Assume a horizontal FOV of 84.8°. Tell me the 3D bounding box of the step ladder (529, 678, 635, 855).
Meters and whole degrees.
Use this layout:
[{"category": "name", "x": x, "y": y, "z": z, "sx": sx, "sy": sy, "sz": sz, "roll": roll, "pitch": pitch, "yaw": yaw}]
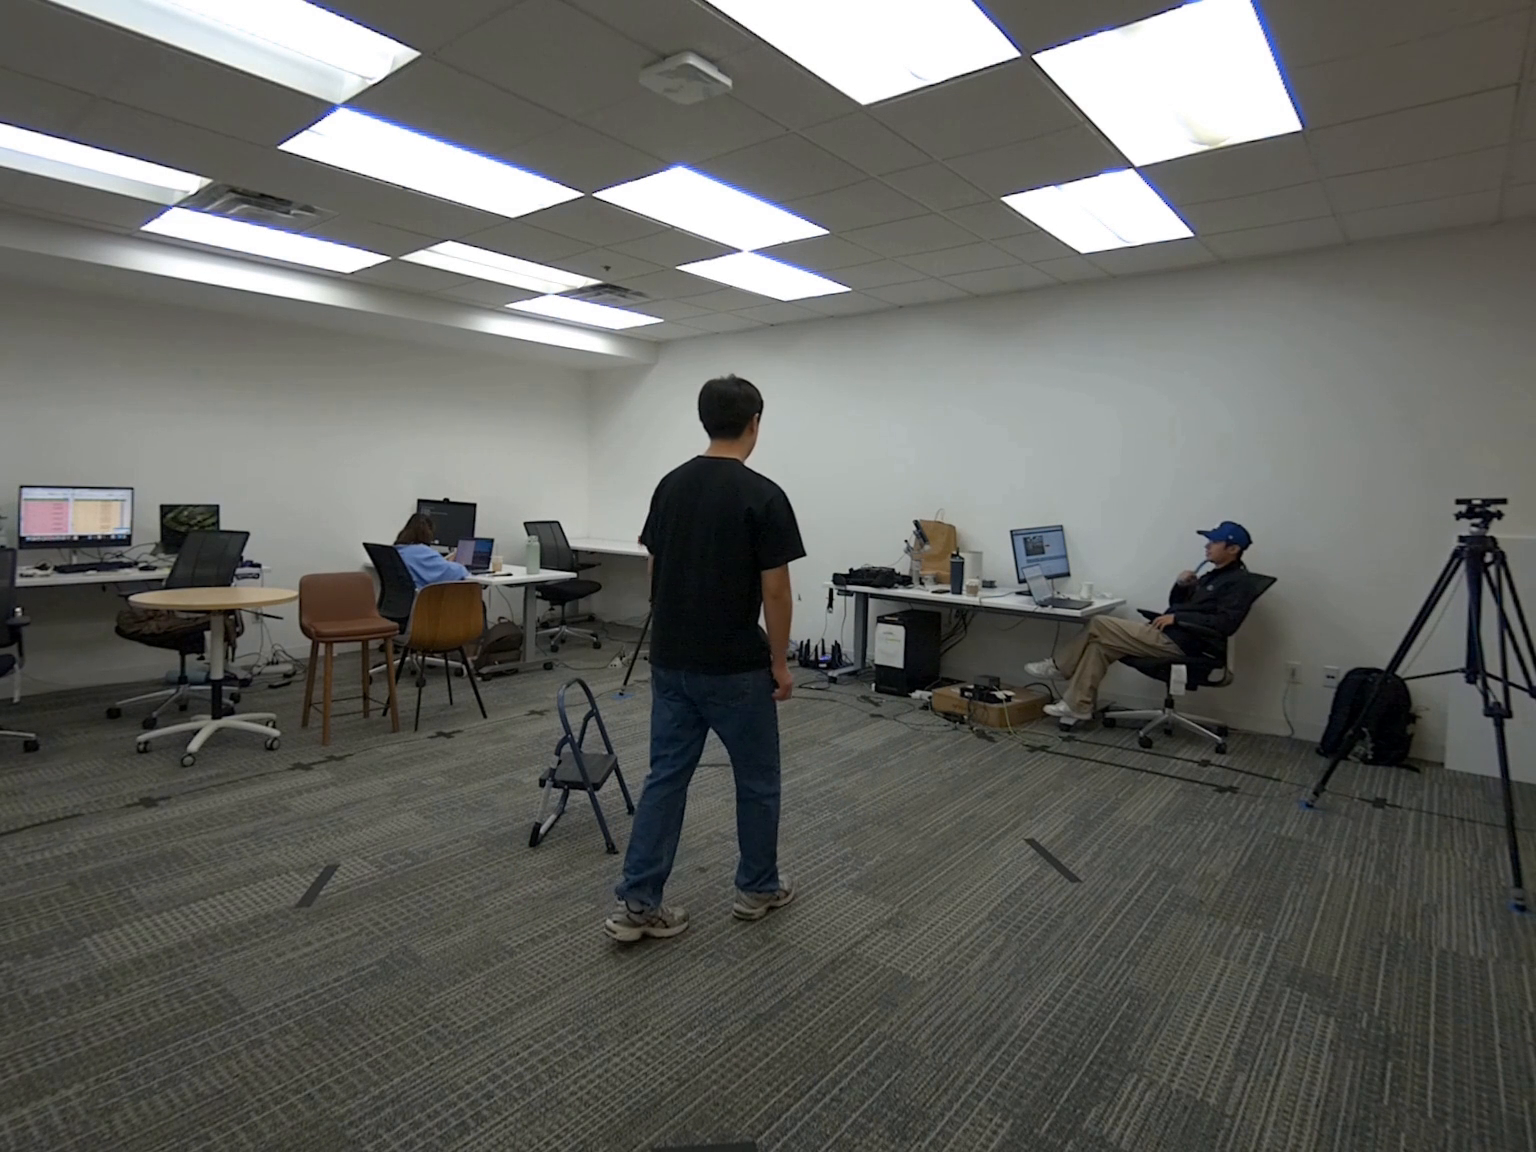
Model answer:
[{"category": "step ladder", "x": -0.746, "y": 0.728, "z": 3.439, "sx": 0.351, "sy": 0.605, "sz": 0.430, "roll": 2, "pitch": 3, "yaw": 2}]
